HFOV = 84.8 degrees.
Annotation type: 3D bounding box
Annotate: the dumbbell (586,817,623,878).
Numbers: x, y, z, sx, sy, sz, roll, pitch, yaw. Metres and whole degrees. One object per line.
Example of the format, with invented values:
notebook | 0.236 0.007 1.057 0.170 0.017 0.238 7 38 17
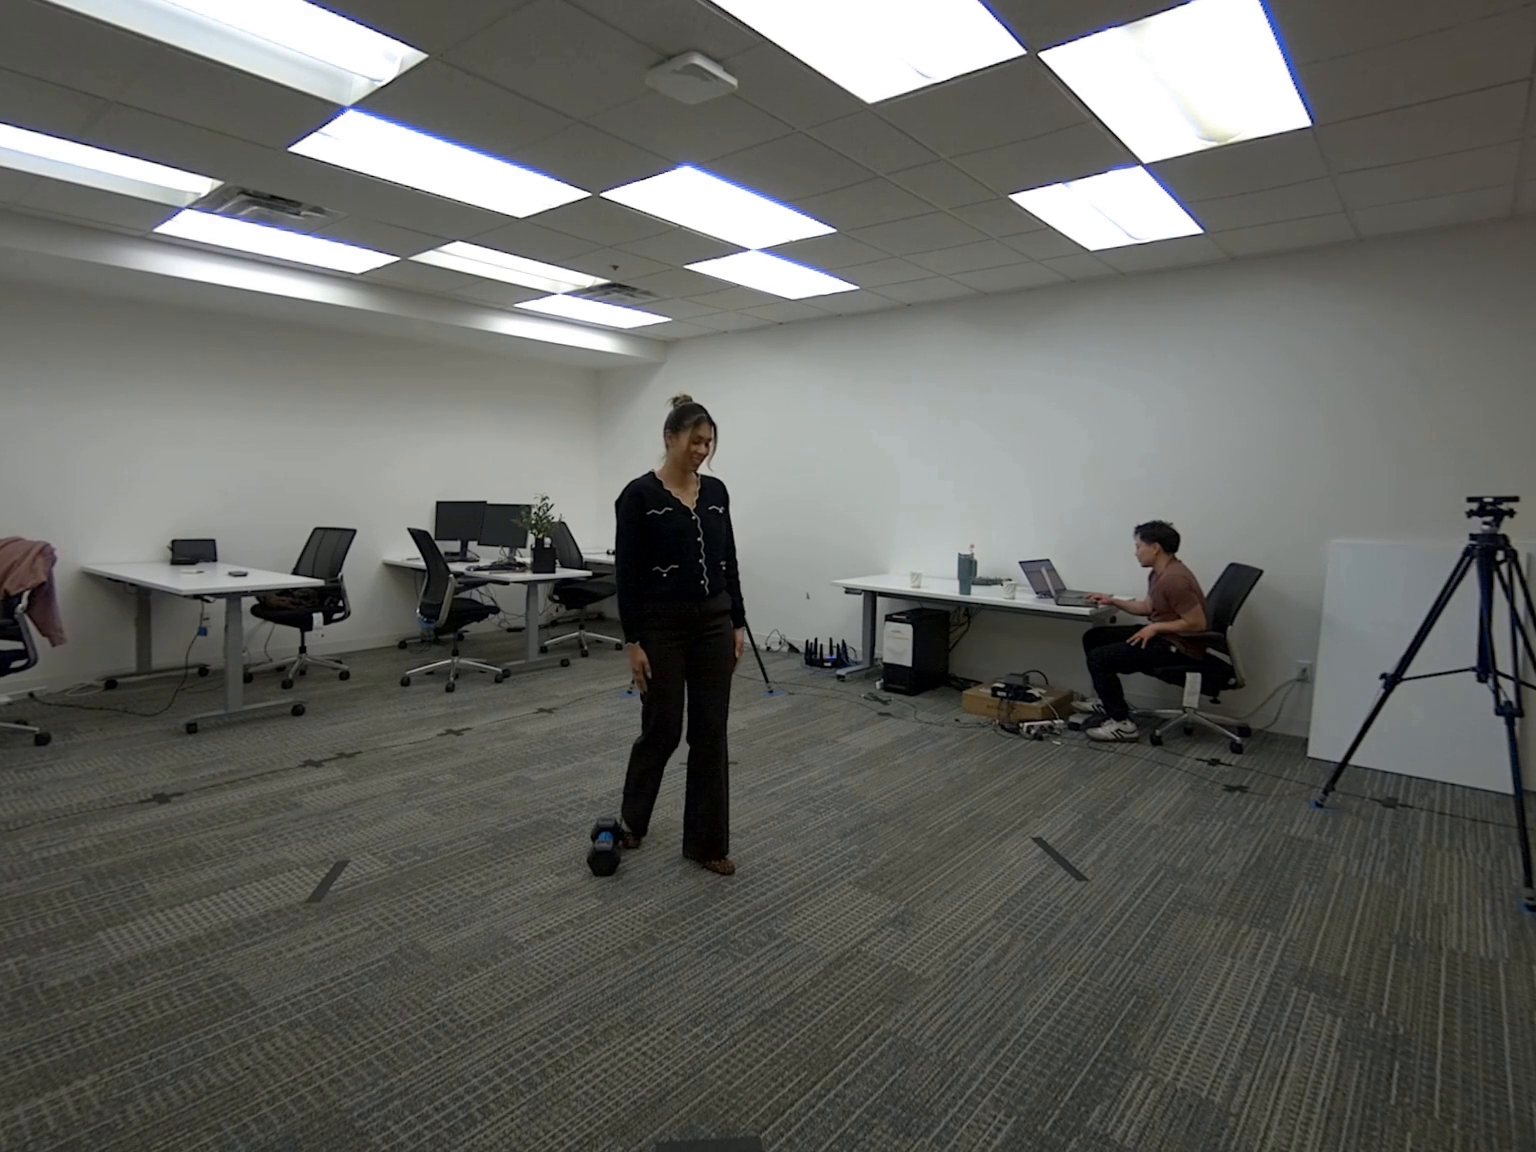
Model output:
dumbbell | -0.618 1.003 3.165 0.108 0.122 0.297 -28 9 -4
